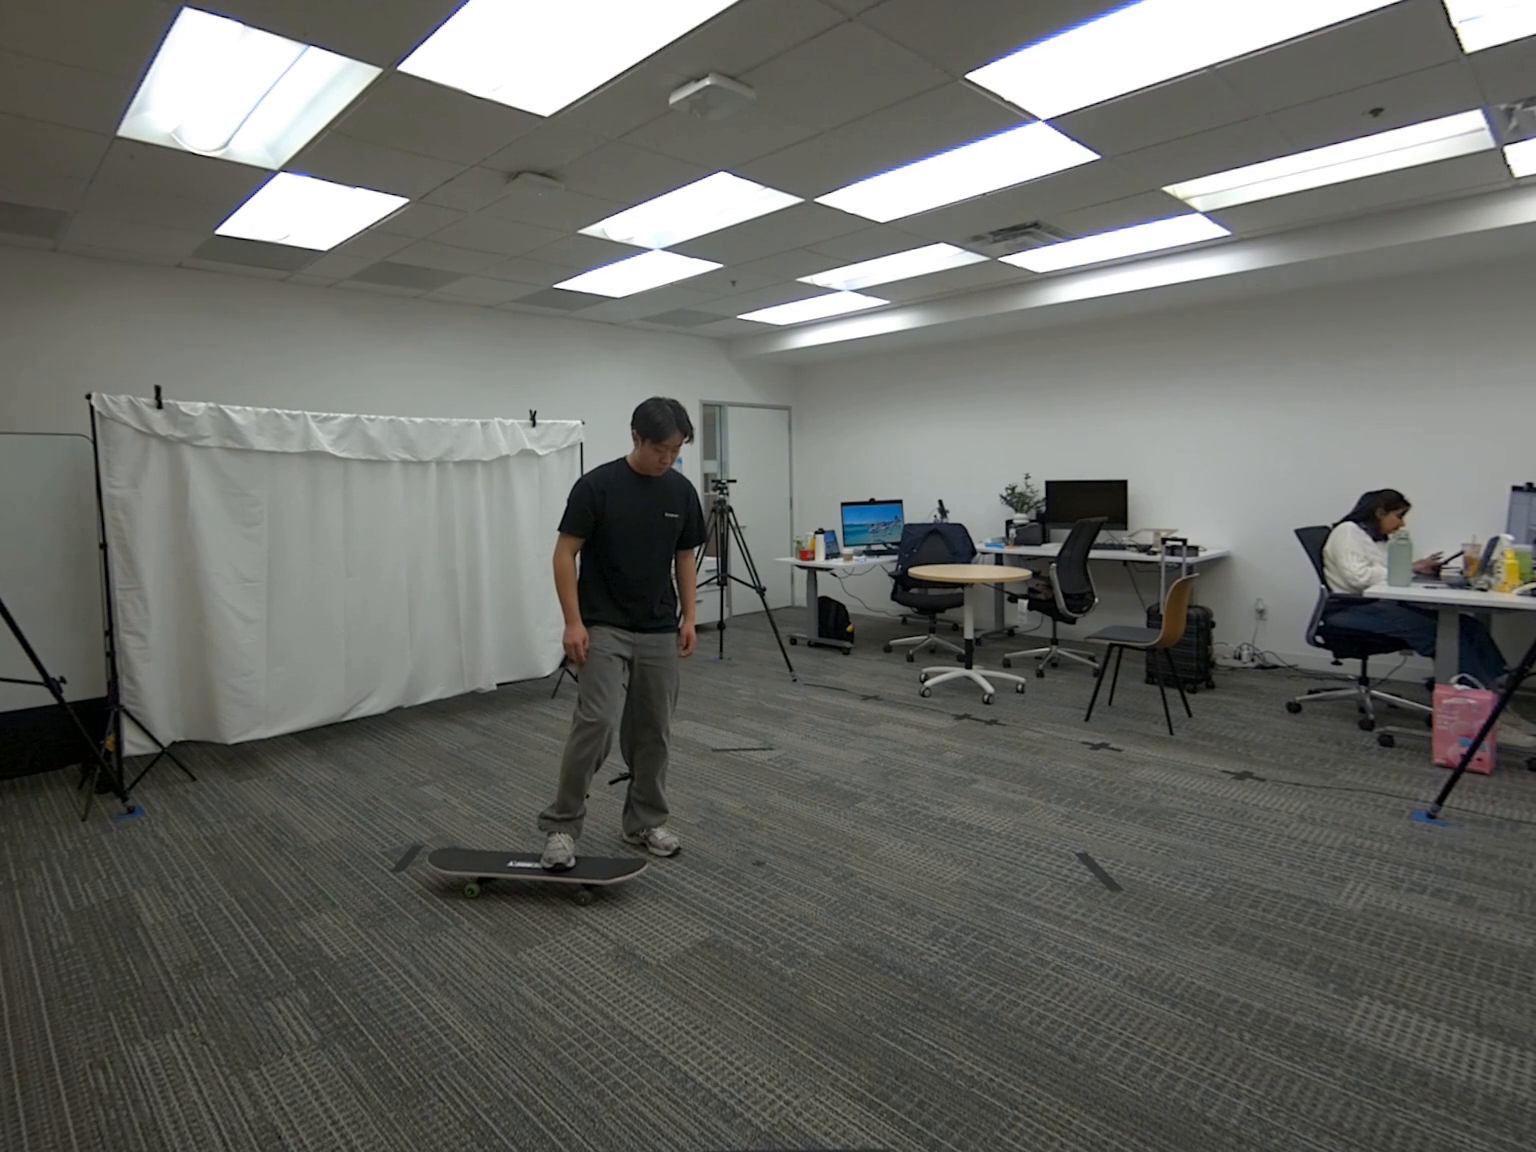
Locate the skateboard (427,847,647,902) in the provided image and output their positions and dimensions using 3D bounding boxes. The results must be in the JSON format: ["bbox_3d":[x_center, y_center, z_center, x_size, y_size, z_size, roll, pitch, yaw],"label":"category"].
[{"bbox_3d":[-0.785,1.022,2.944,0.793,0.110,0.192,0,5,10],"label":"skateboard"}]
